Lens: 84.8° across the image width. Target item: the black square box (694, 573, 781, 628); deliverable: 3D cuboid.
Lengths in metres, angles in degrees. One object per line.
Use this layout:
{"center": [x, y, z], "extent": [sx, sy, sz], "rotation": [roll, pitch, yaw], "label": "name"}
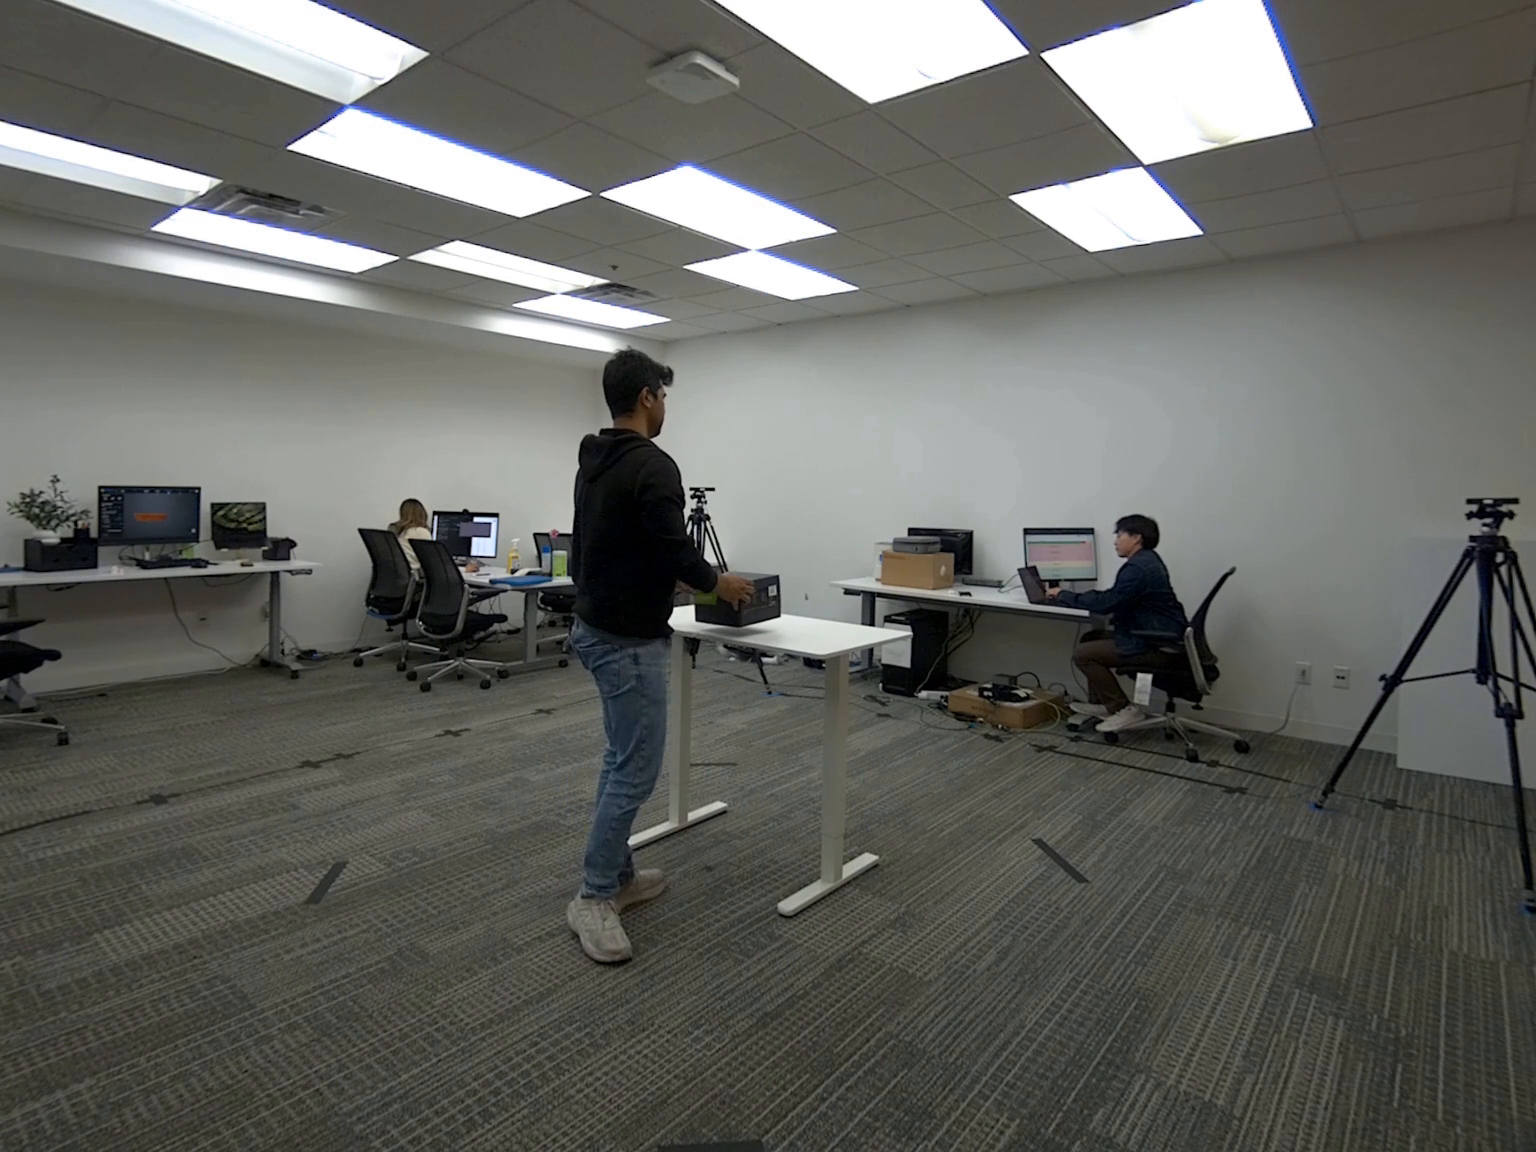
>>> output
{"center": [-0.120, 0.078, 3.024], "extent": [0.235, 0.155, 0.211], "rotation": [3, 9, 44], "label": "black square box"}
